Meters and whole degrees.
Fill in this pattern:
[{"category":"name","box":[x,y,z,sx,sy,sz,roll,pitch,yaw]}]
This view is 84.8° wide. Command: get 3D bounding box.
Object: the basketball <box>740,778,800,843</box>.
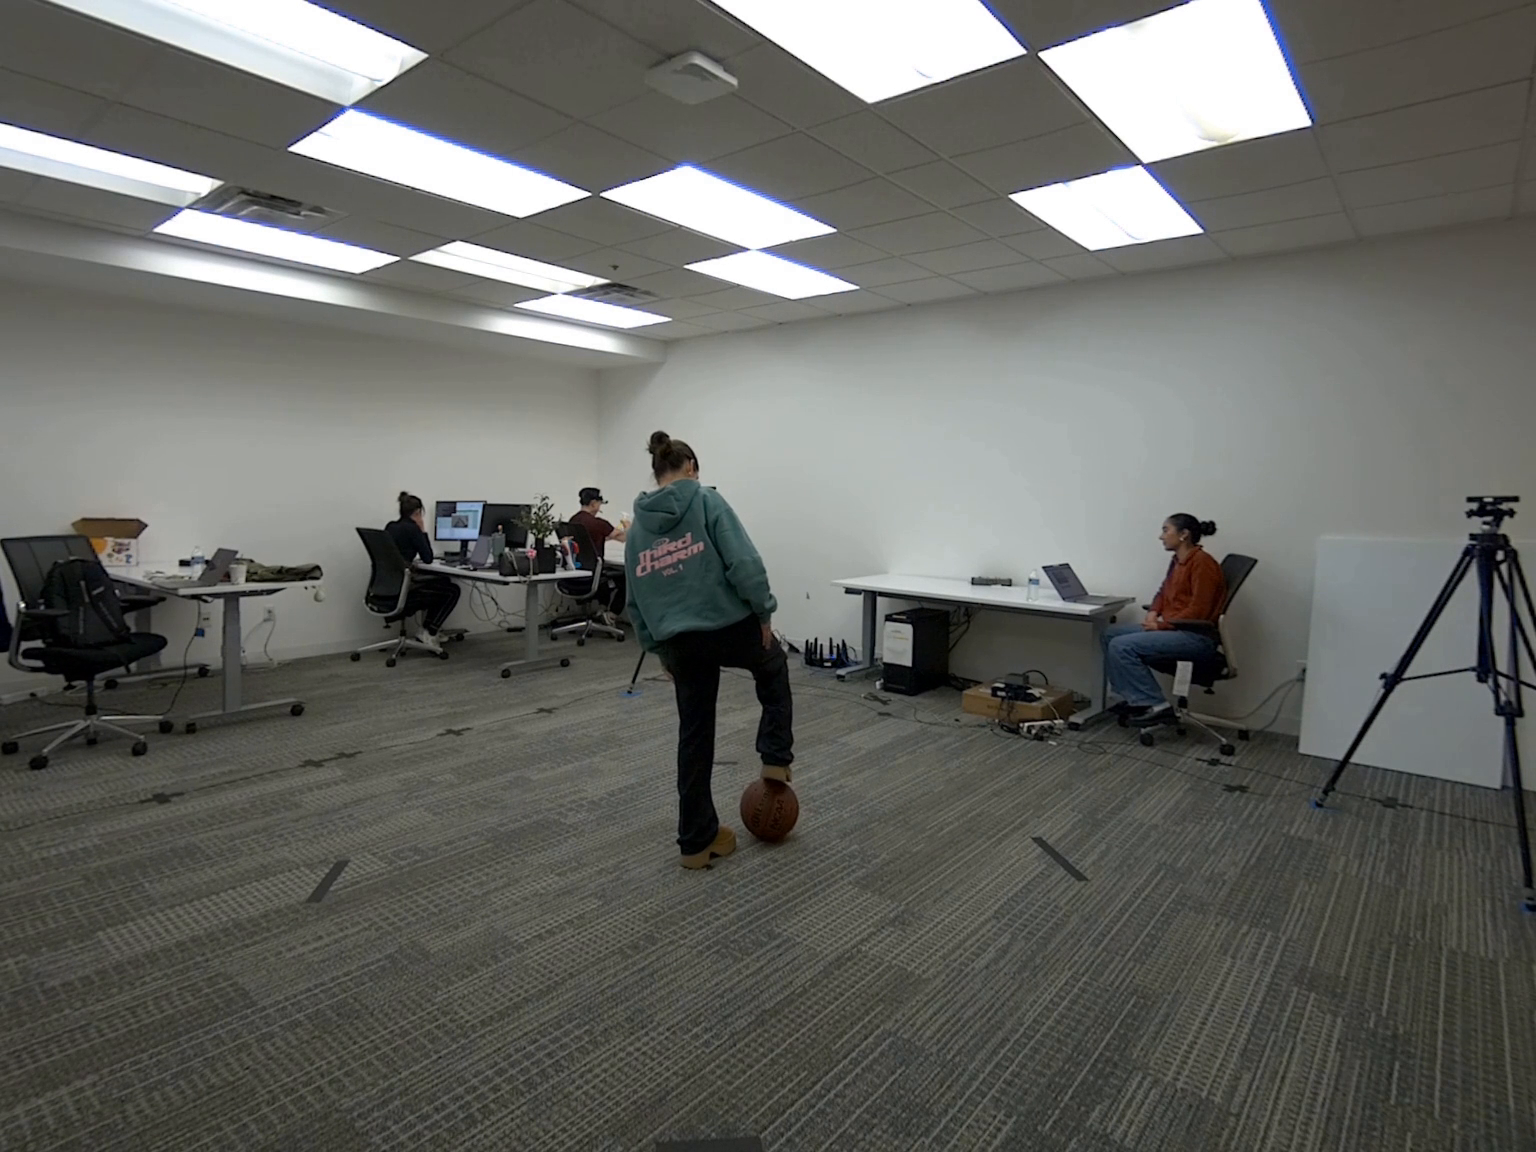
[{"category":"basketball","box":[-0.003,0.920,3.402,0.236,0.235,0.237,1,4,-2]}]
